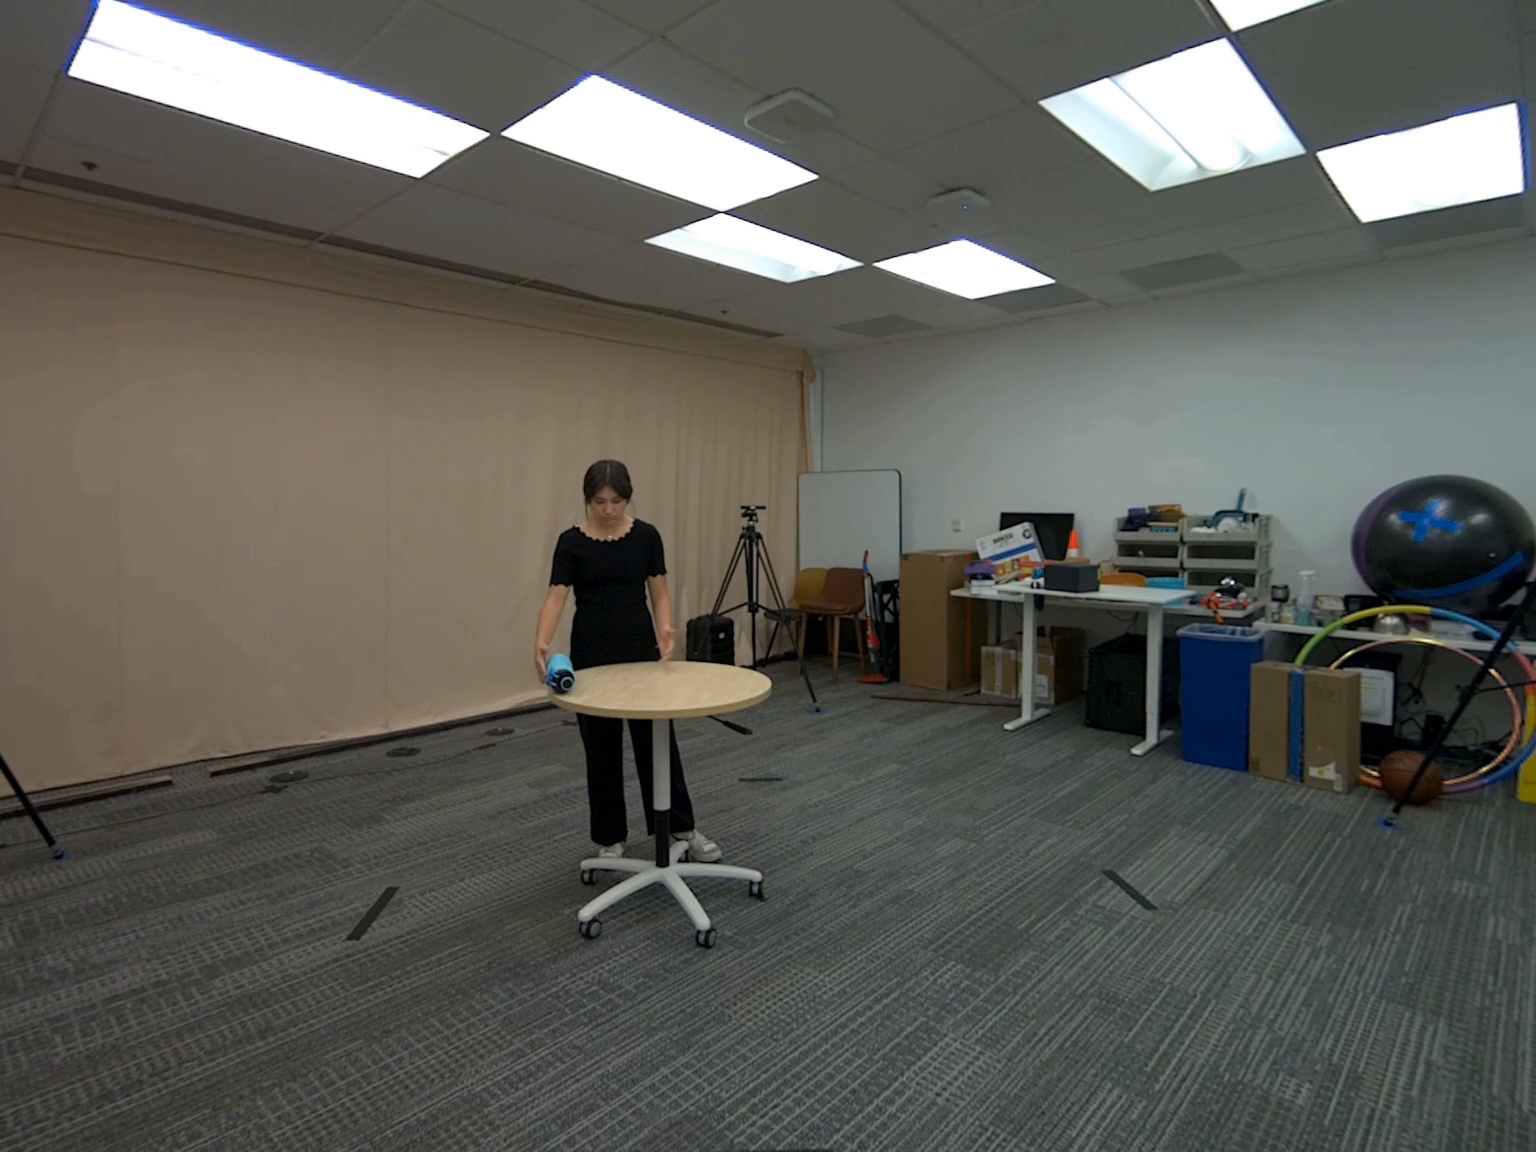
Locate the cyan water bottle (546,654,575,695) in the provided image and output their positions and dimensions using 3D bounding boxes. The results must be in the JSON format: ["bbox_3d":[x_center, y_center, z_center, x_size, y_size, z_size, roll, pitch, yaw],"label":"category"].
[{"bbox_3d":[-0.693,0.330,2.841,0.091,0.092,0.288,-1,5,-15],"label":"cyan water bottle"}]
